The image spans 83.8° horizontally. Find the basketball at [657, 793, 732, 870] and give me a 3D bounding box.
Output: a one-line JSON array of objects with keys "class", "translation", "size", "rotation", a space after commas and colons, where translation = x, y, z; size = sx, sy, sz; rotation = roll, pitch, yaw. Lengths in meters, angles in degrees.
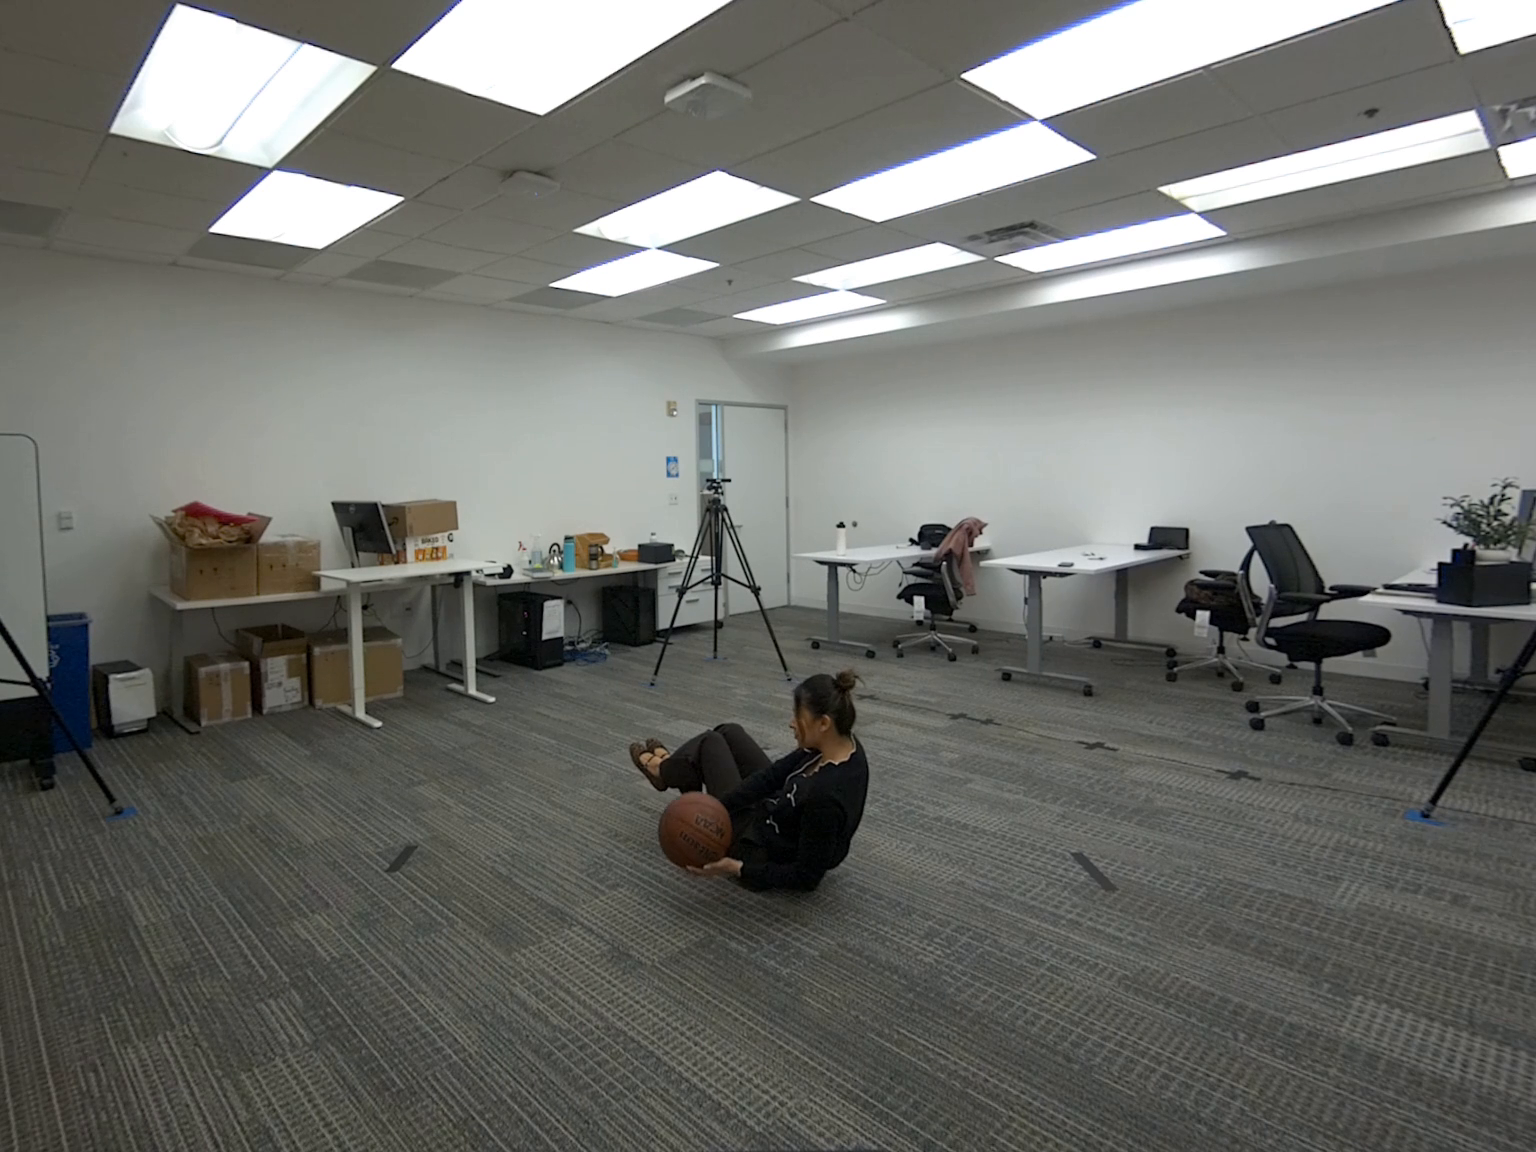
[{"class": "basketball", "translation": [-0.223, 0.792, 2.734], "size": [0.236, 0.235, 0.237], "rotation": [-1, 5, -2]}]
